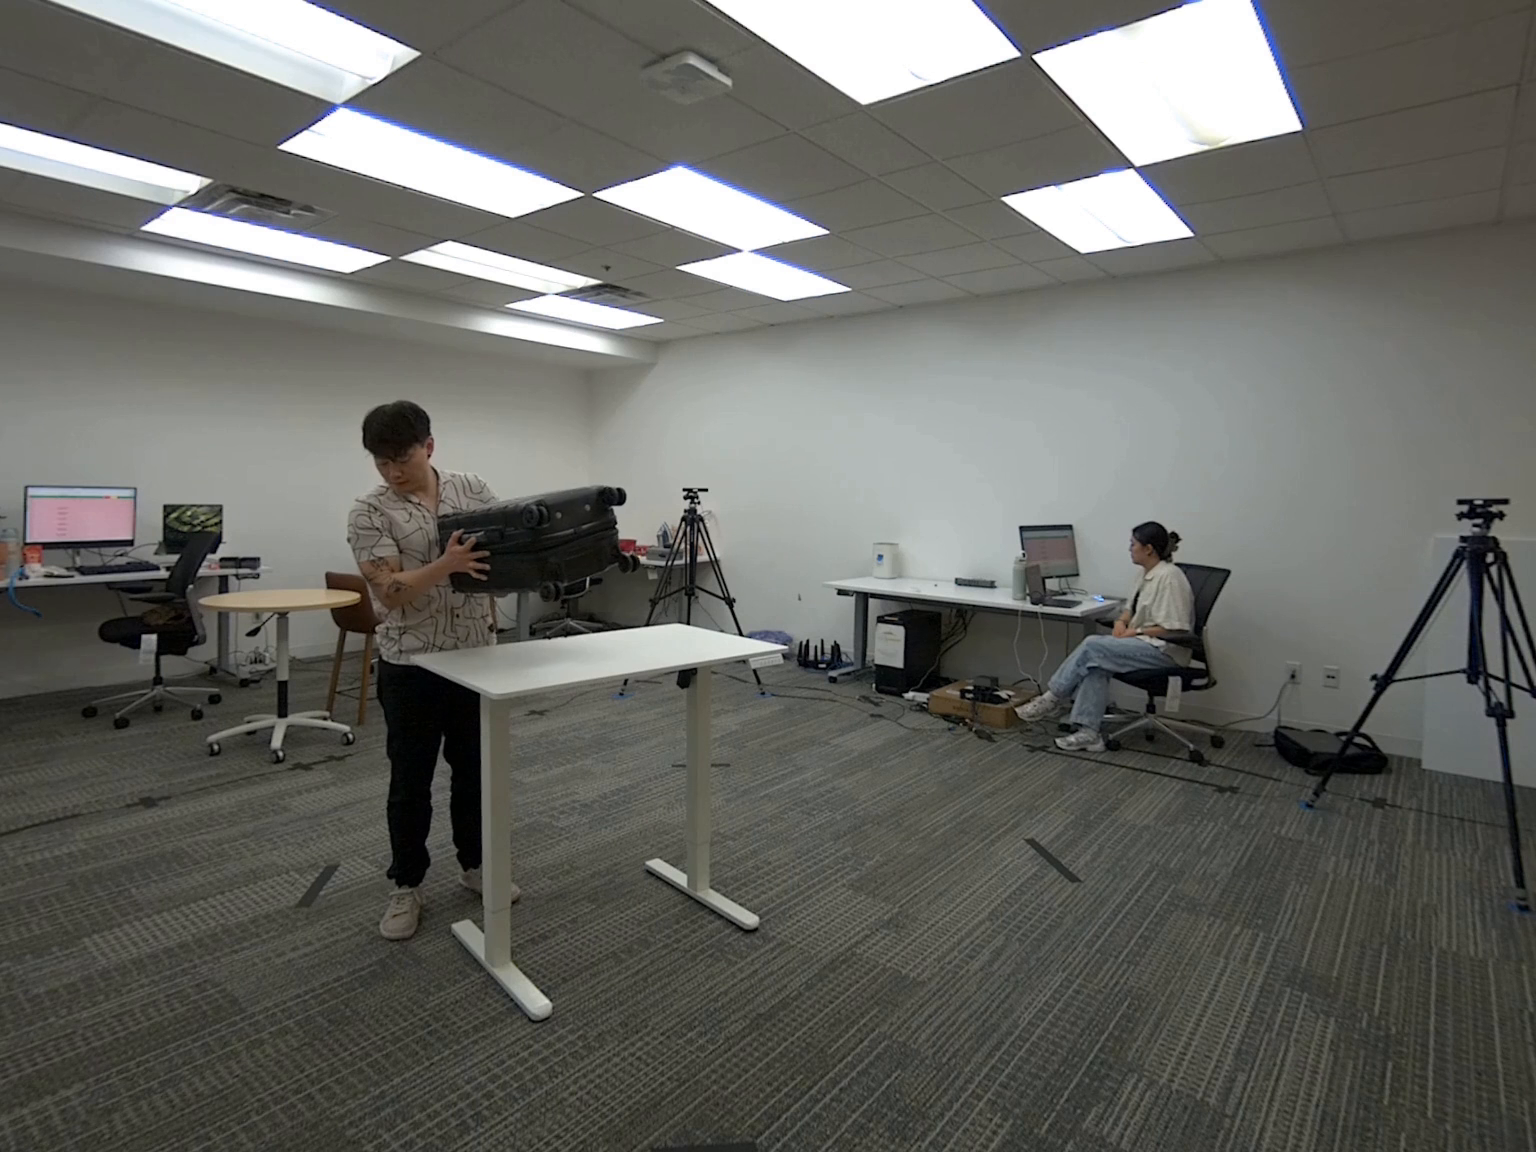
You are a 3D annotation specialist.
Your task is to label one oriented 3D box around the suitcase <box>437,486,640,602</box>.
[{"bbox_3d":[-0.723,-0.112,2.549,0.566,0.245,0.369,-1,14,36],"label":"suitcase"}]
